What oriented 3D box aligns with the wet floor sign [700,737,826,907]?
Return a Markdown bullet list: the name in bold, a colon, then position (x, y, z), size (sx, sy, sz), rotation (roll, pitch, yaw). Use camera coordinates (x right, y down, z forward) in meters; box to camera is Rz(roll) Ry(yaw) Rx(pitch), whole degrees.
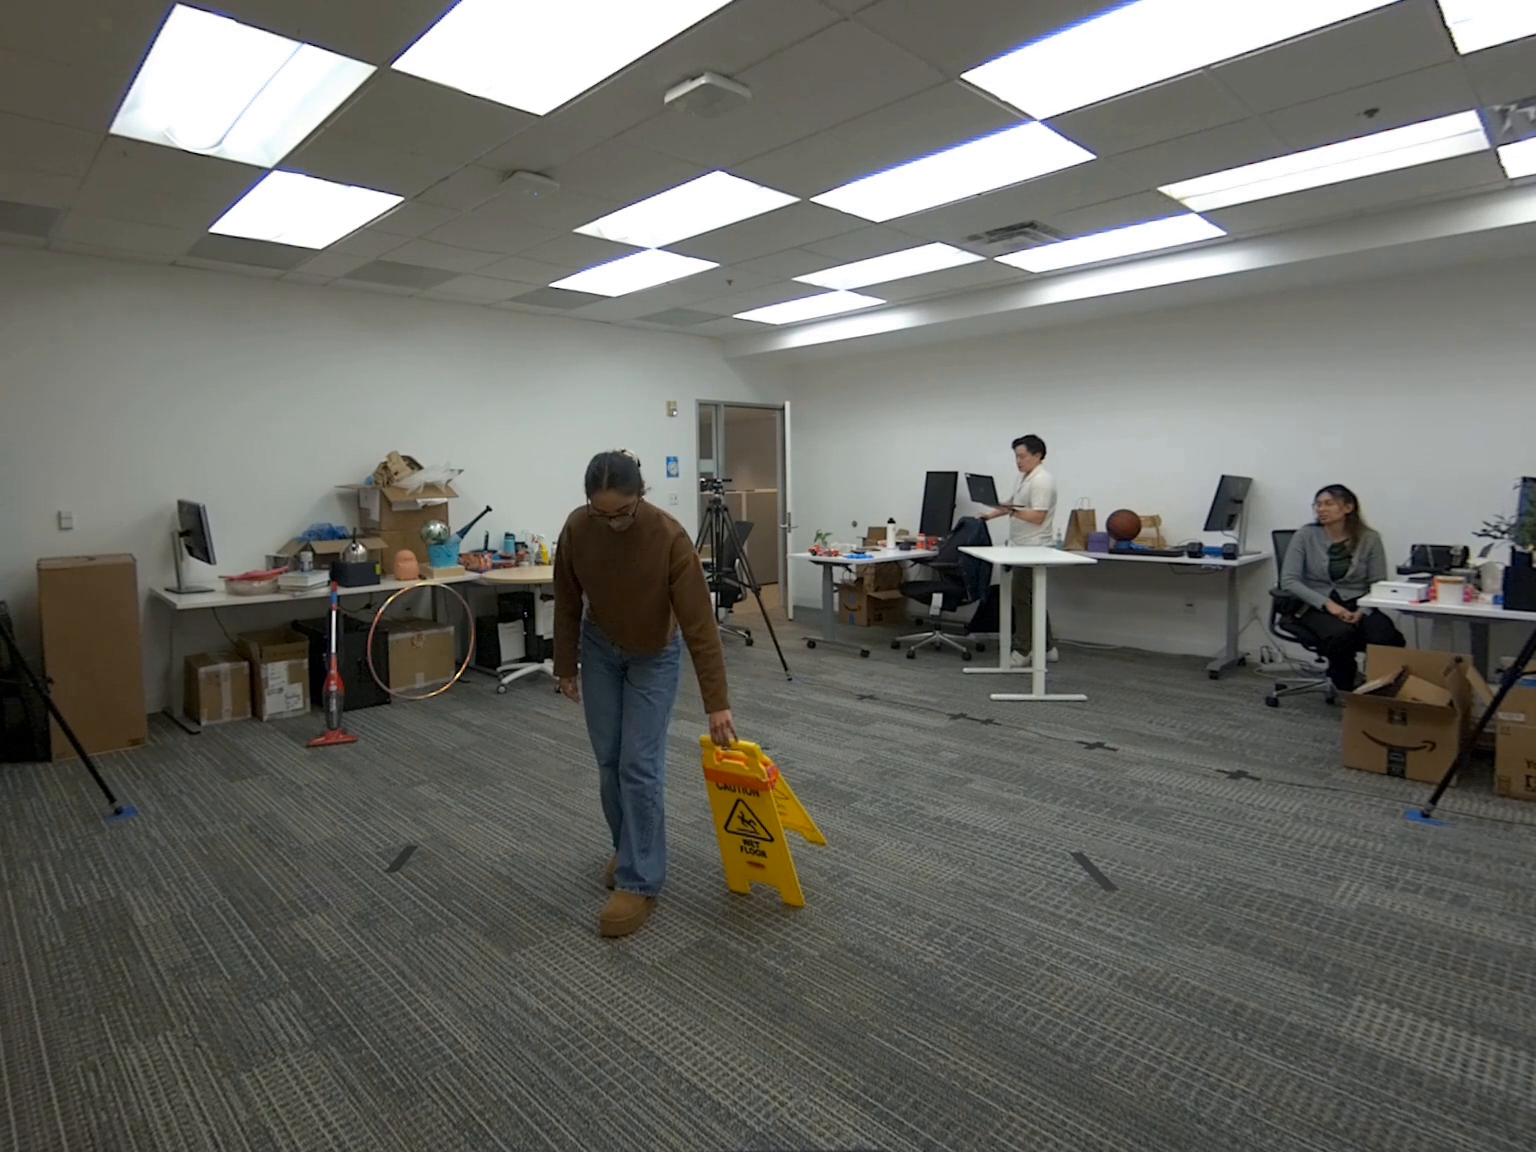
- **wet floor sign**: position (-0.042, 0.747, 2.752), size (0.289, 0.625, 0.292), rotation (1, 38, 26)
